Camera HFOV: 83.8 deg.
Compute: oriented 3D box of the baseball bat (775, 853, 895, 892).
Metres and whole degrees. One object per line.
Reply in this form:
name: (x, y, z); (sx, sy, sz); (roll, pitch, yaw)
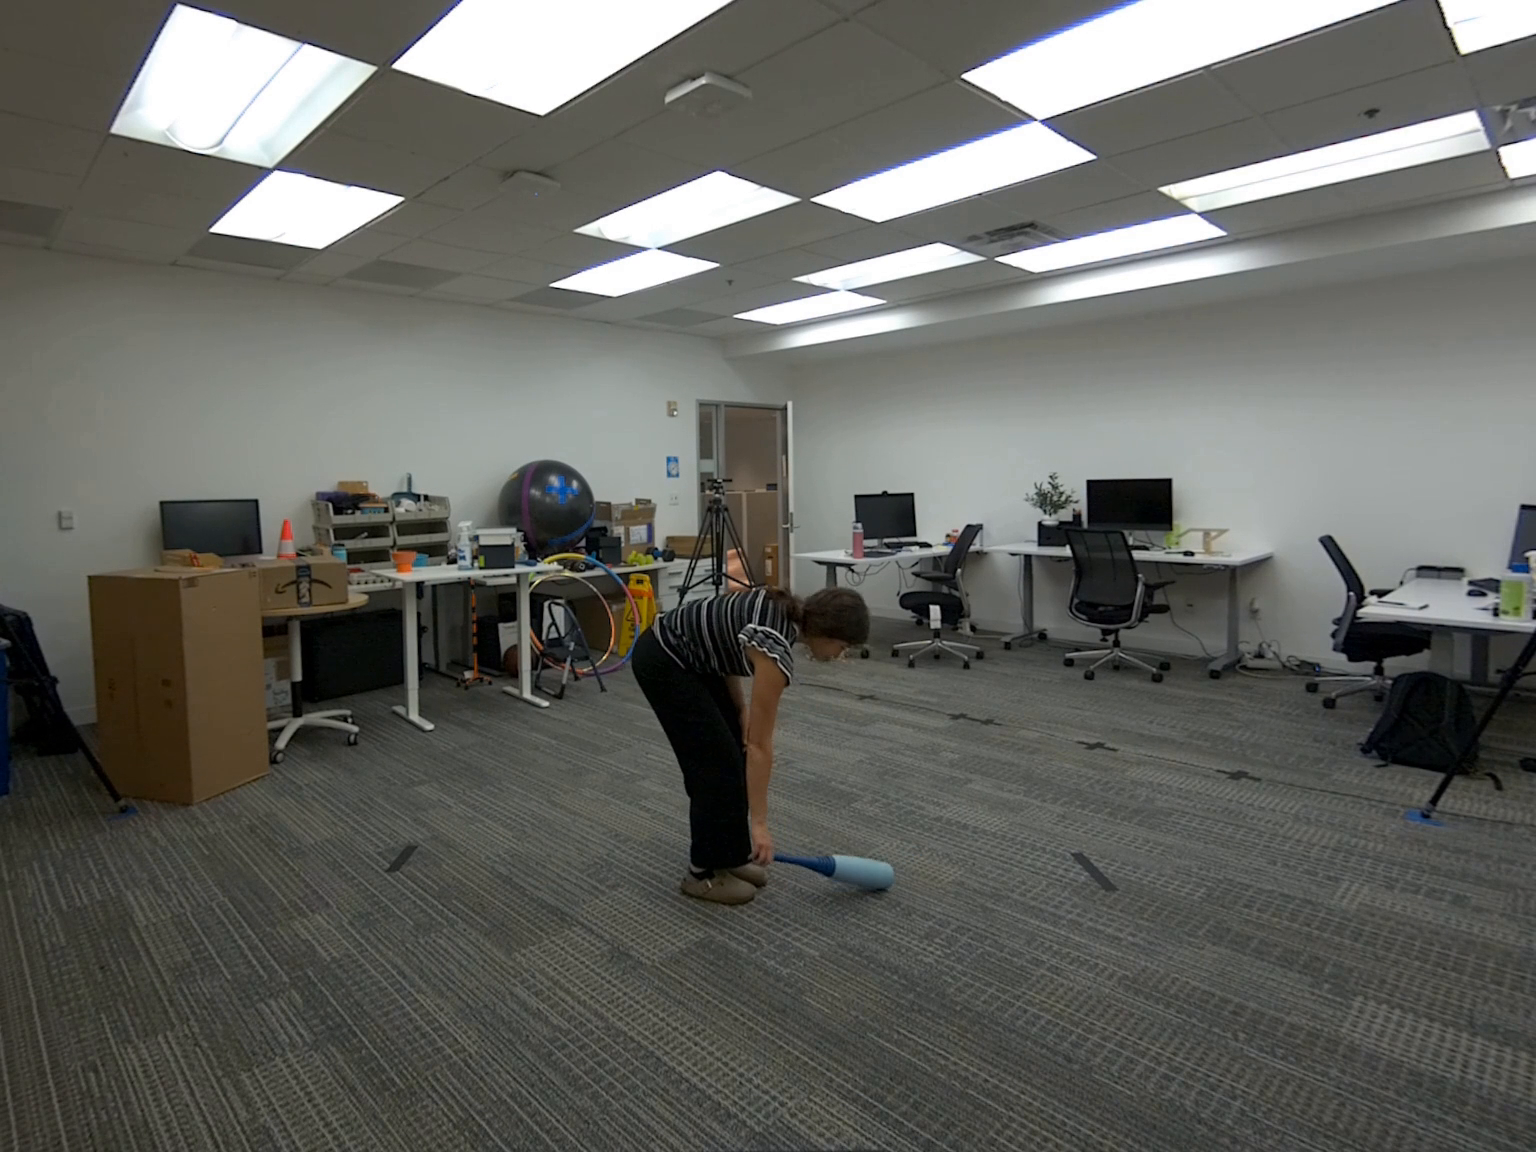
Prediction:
baseball bat: (0.183, 0.946, 2.799); (0.528, 0.089, 0.091); (18, -4, -25)
